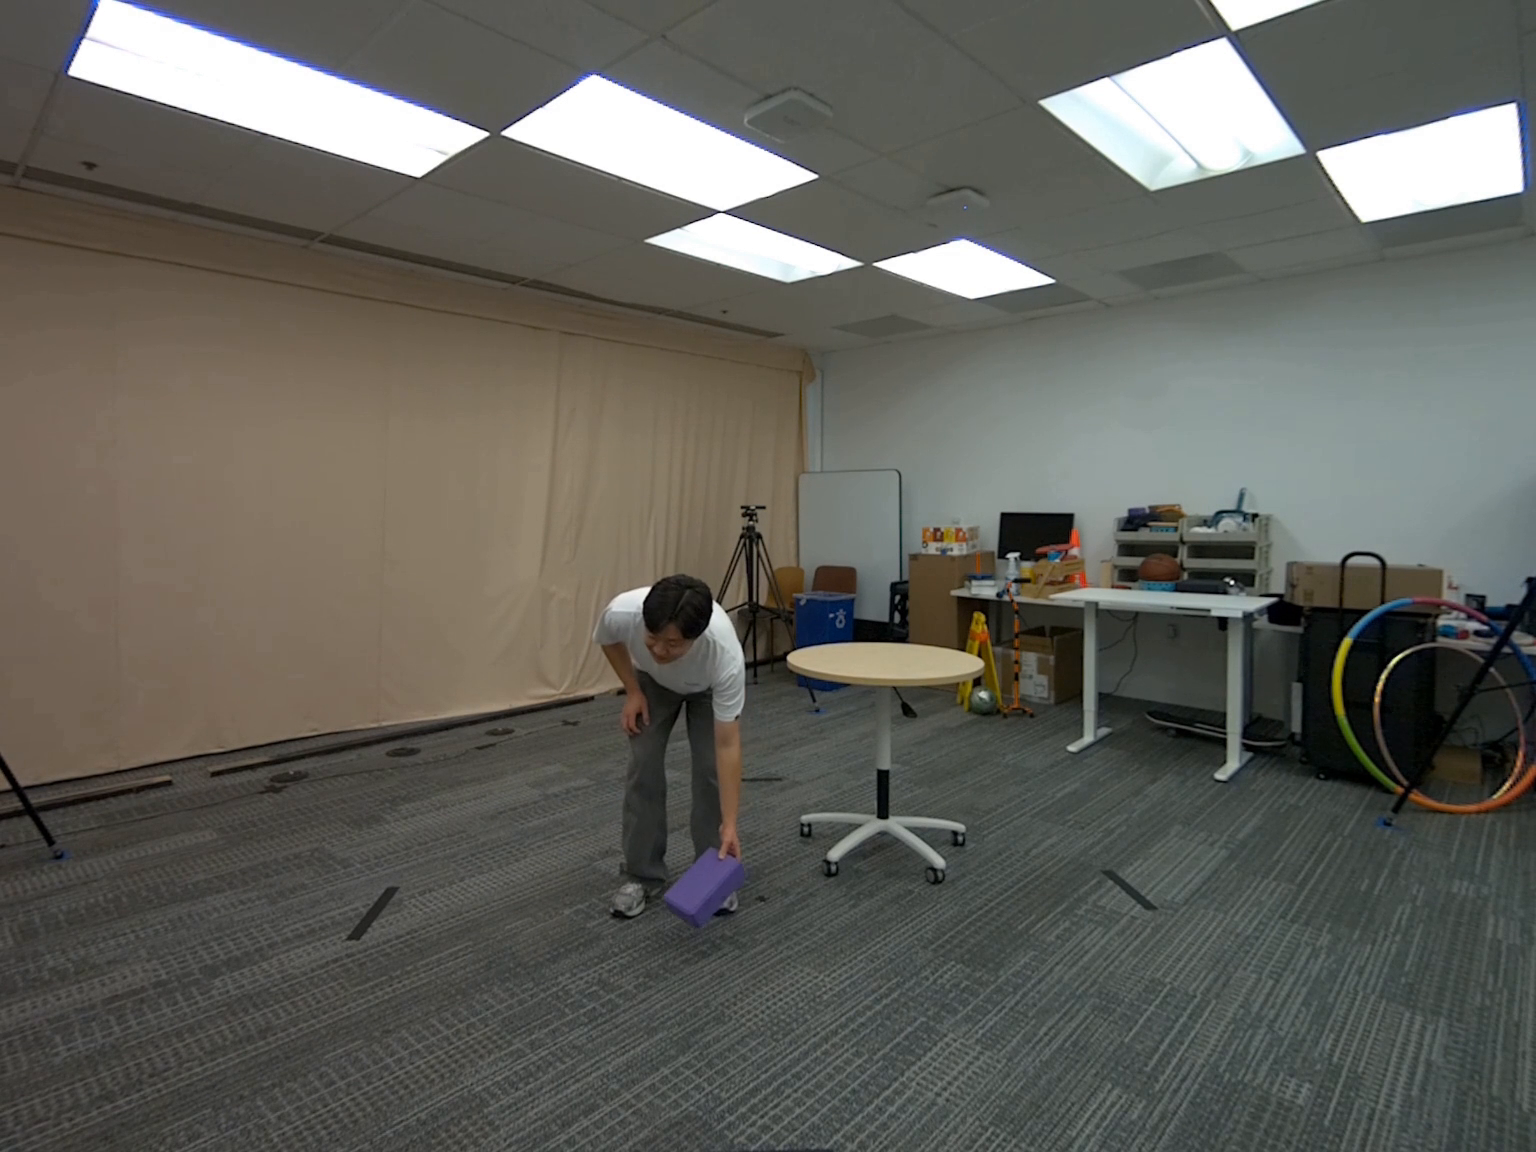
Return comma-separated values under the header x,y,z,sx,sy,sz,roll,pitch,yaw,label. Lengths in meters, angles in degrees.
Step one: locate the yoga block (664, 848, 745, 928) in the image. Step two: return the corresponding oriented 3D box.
x,y,z,sx,sy,sz,roll,pitch,yaw,label
-0.203,0.952,2.620,0.154,0.075,0.226,3,33,44,yoga block
